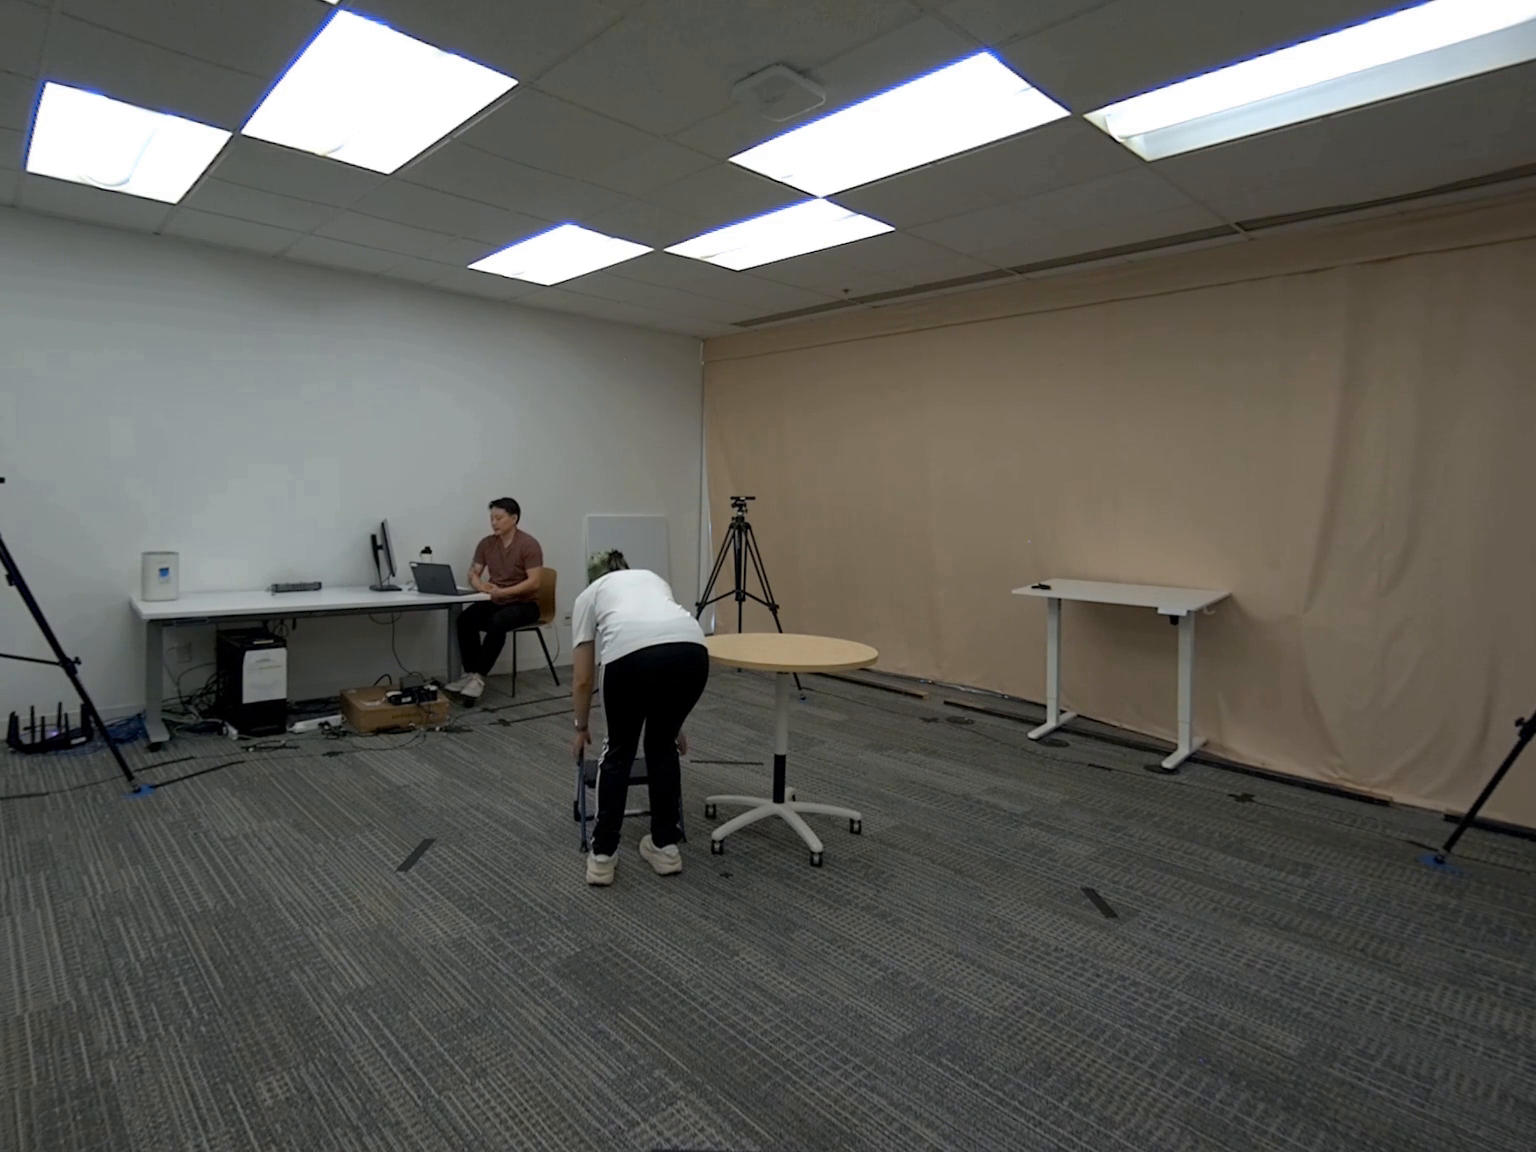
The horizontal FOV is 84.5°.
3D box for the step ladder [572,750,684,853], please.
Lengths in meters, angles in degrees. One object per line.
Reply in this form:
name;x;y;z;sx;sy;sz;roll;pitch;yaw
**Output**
step ladder;-0.584;0.763;3.481;0.425;0.605;0.355;0;3;-18
